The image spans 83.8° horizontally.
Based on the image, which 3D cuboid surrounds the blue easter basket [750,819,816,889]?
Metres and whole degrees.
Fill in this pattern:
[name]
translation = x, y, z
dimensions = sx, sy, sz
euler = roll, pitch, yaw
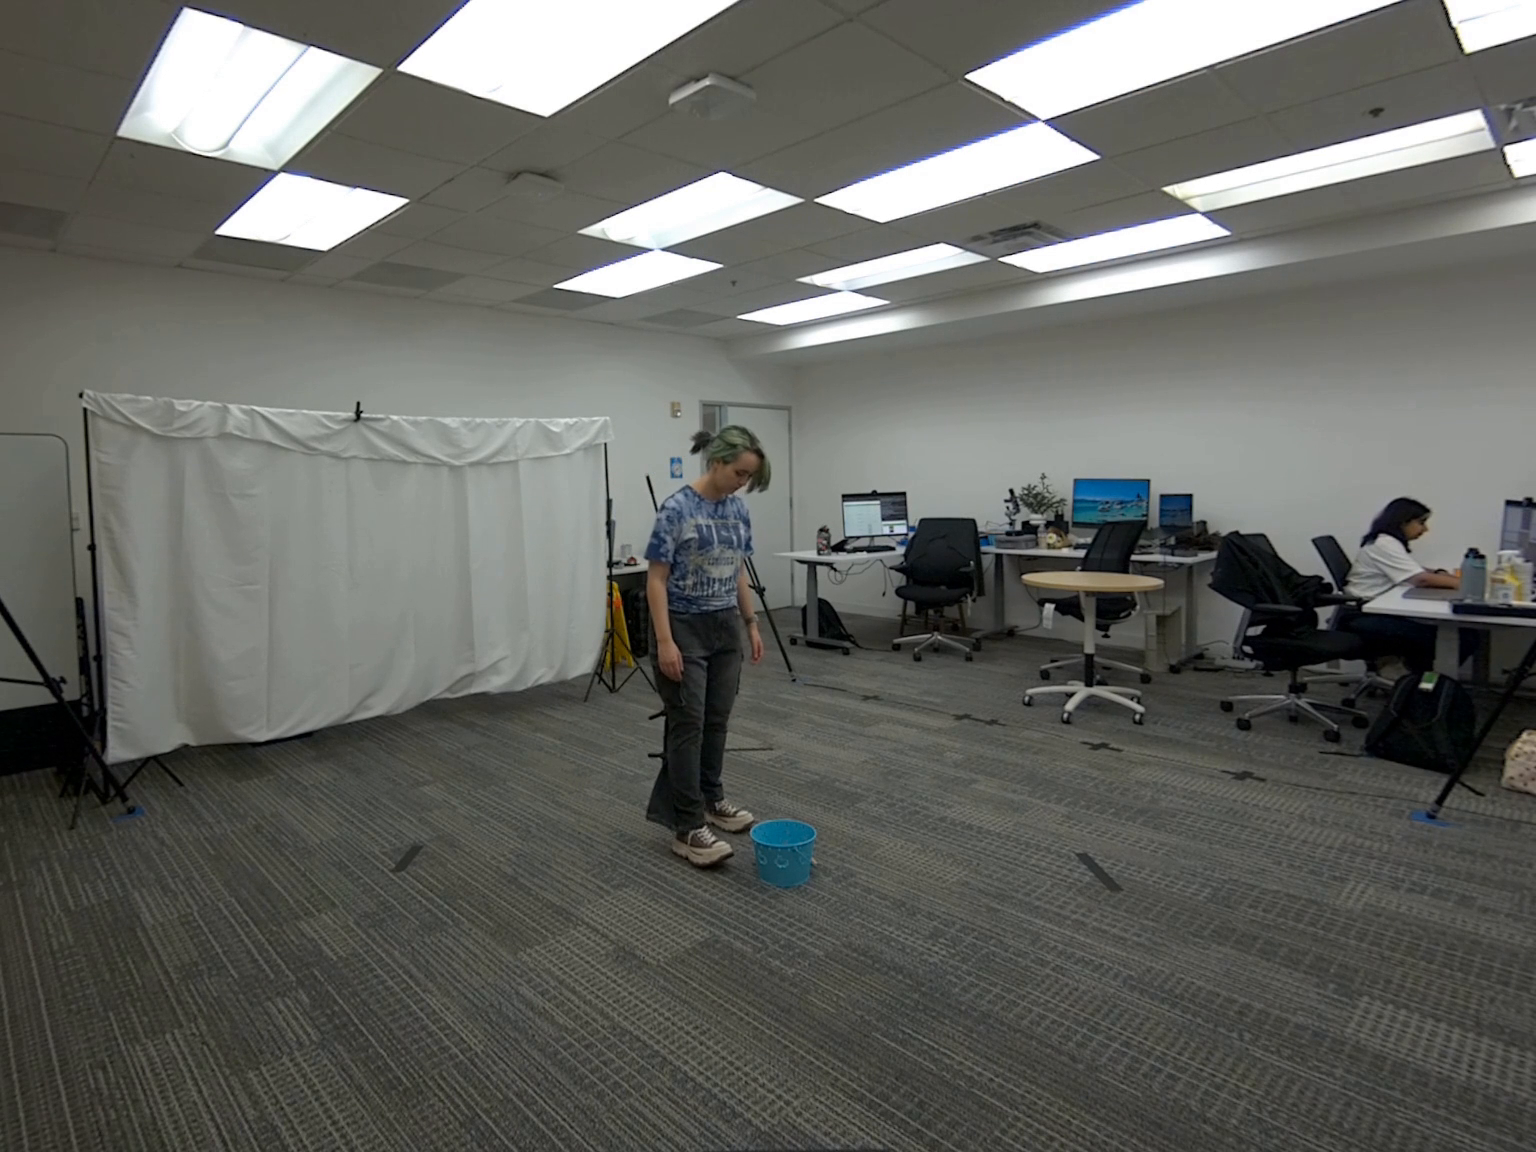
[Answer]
[blue easter basket]
translation = 0.055, 0.978, 3.012
dimensions = 0.243, 0.155, 0.245
euler = -1, 5, -2
